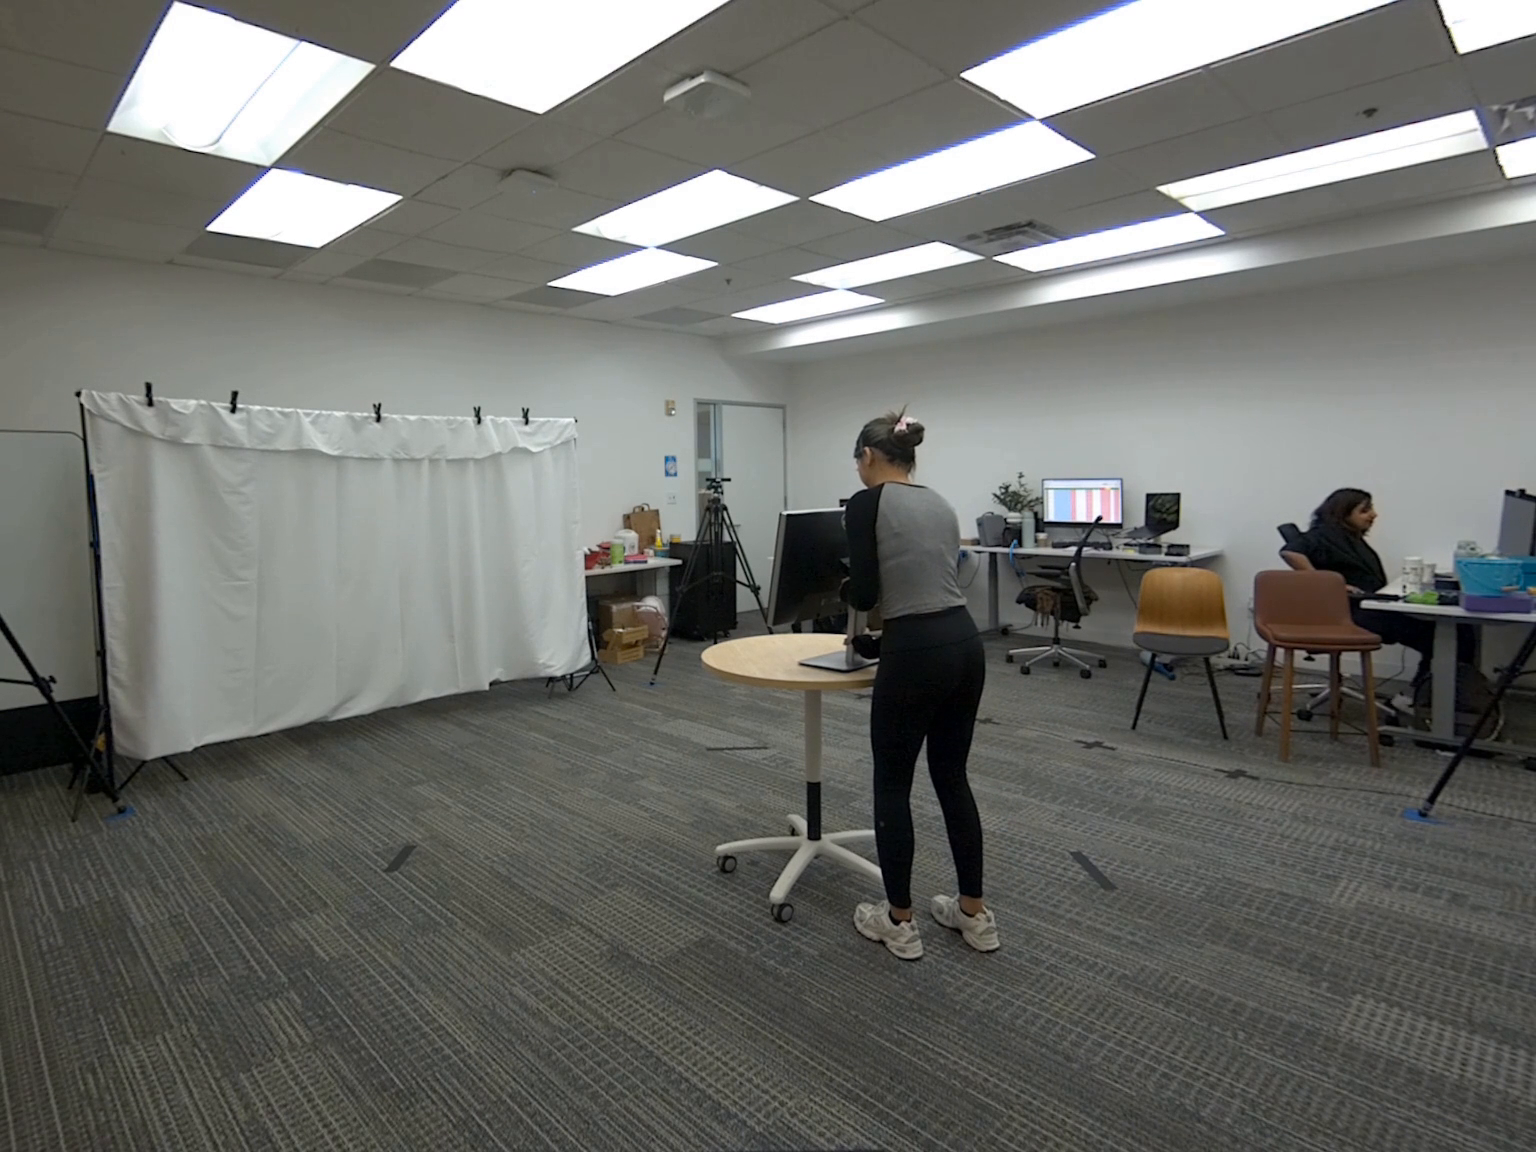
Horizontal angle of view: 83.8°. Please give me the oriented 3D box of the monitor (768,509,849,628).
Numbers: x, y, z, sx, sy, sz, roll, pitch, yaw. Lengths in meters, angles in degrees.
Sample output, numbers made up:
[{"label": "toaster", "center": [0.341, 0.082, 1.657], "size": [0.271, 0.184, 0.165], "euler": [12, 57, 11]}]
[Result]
[{"label": "monitor", "center": [0.250, 0.041, 2.779], "size": [0.192, 0.522, 0.525], "euler": [-2, 3, 43]}]
